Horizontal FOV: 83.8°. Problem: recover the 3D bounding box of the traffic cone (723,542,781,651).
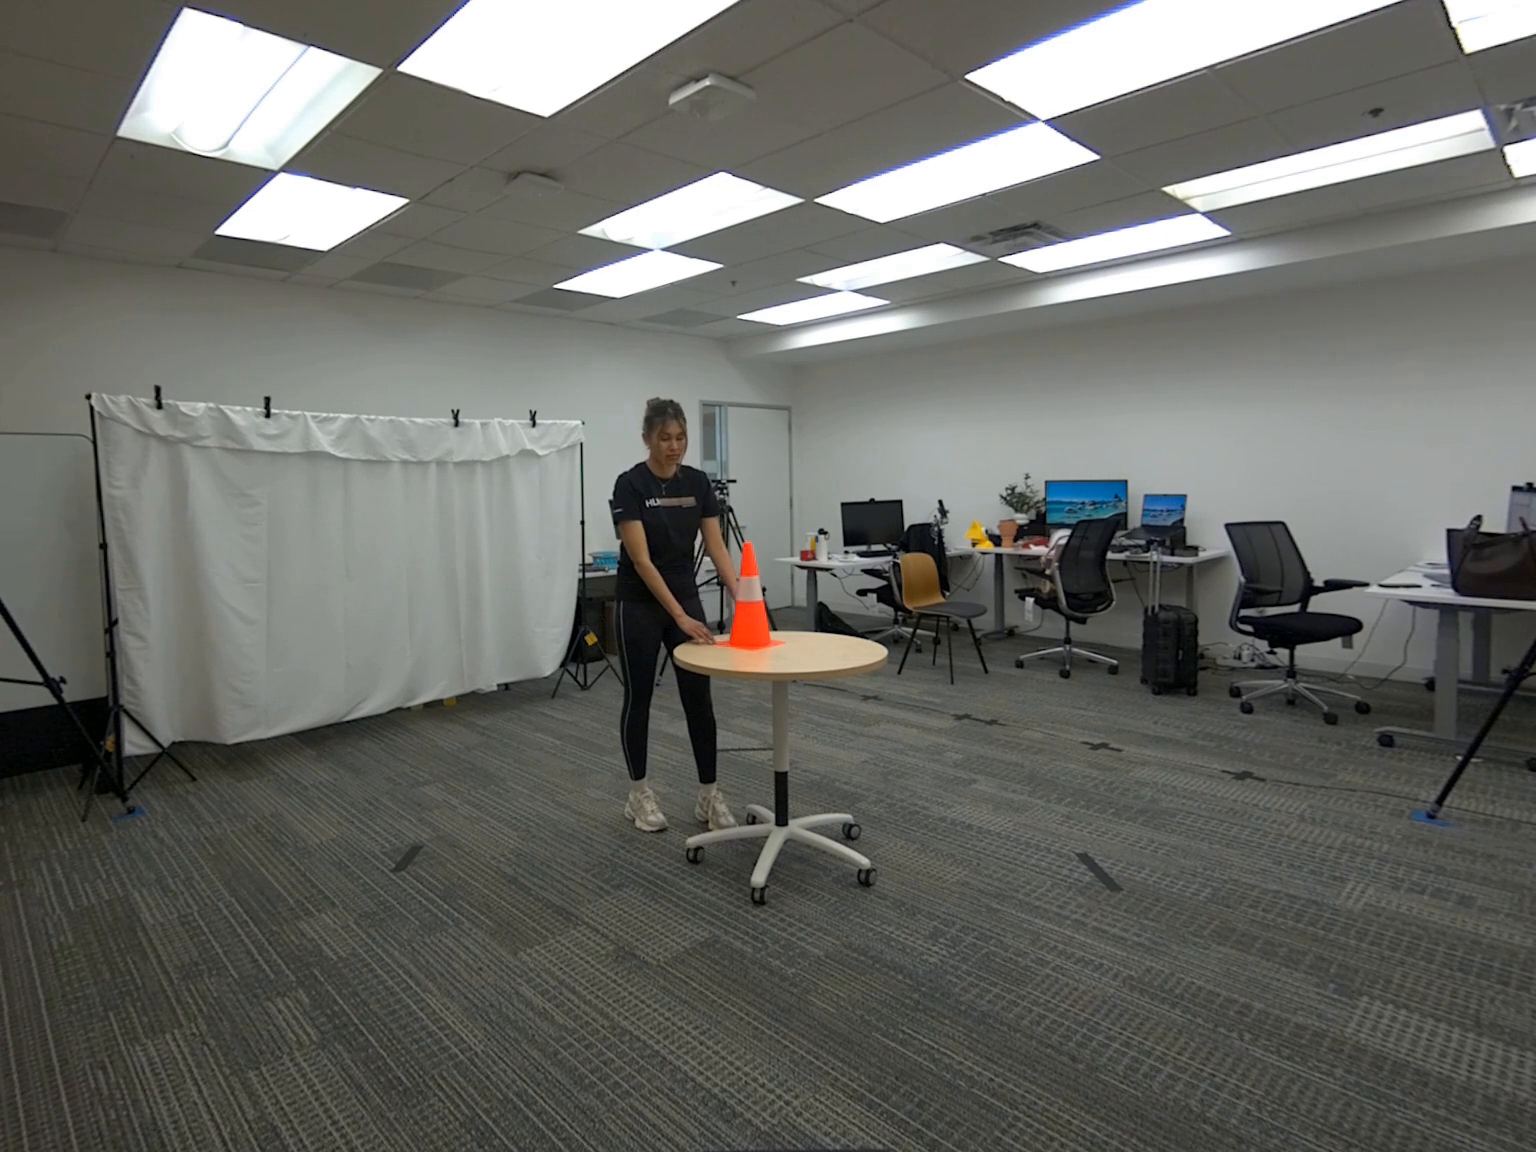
[{"bbox_3d":[-0.072,0.066,3.195,0.211,0.383,0.198,1,4,37],"label":"traffic cone"}]
